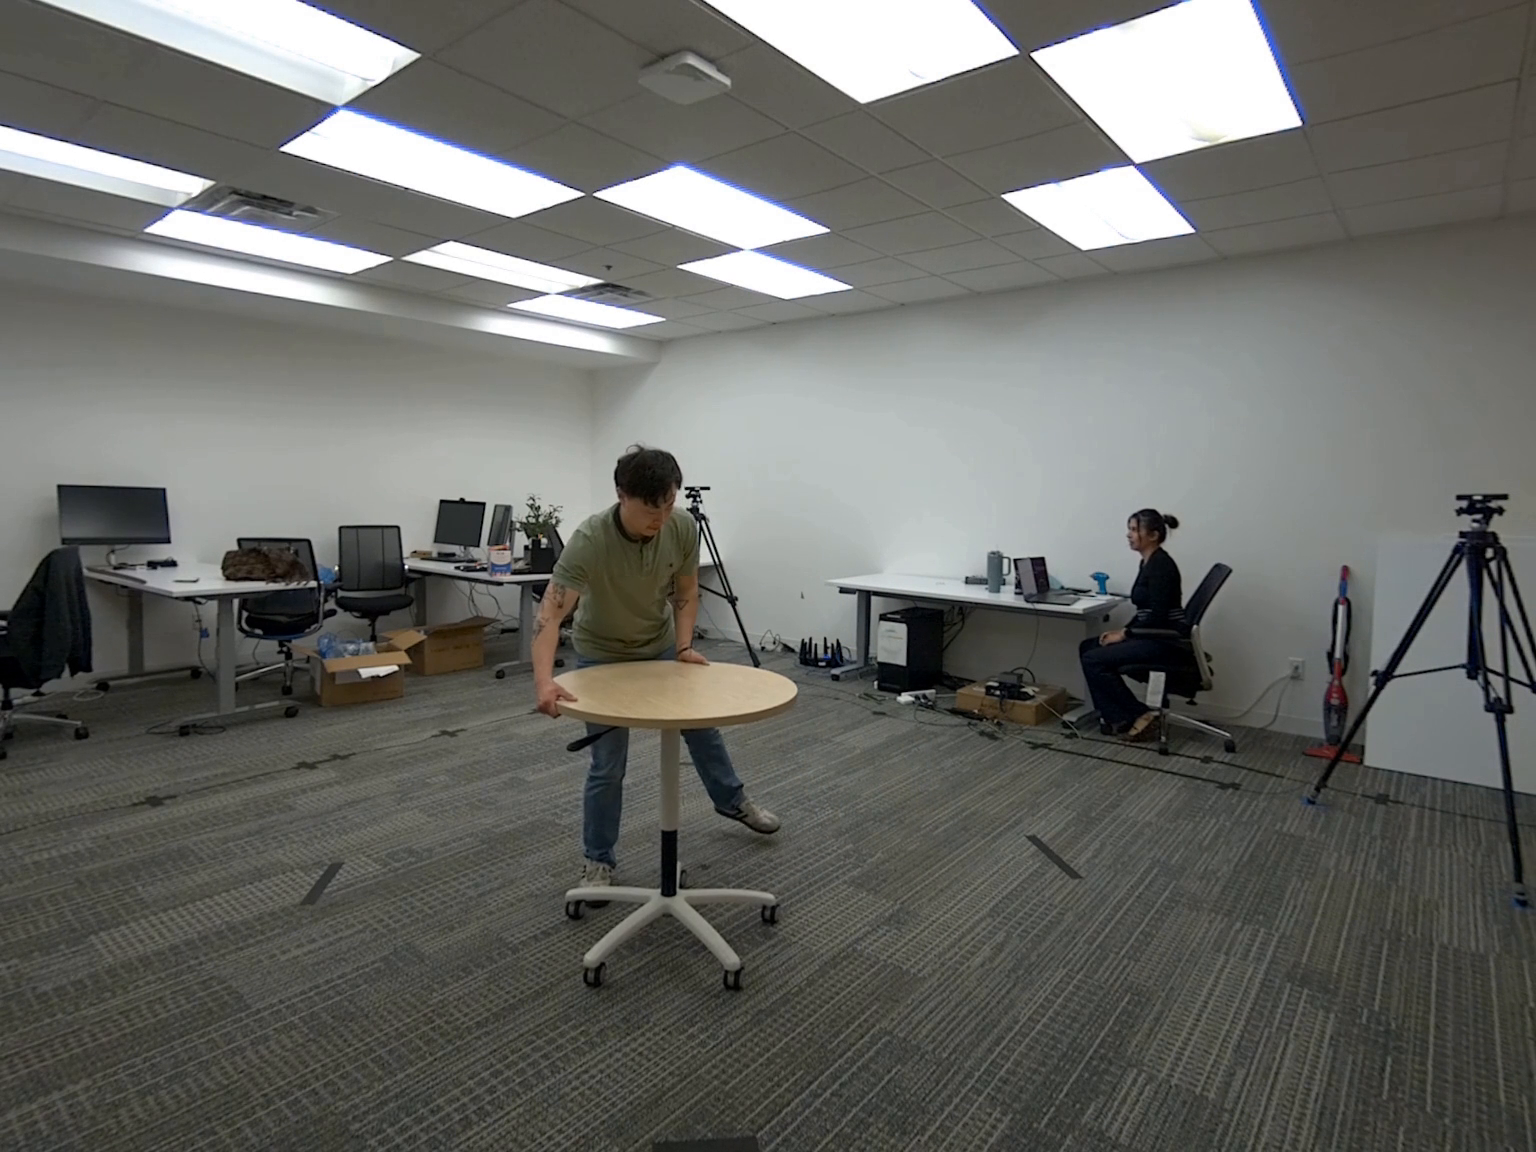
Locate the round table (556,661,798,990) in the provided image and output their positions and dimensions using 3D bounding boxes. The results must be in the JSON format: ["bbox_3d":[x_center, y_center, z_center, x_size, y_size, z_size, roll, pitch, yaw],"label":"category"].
[{"bbox_3d":[-0.307,0.723,2.601,0.763,0.791,0.768,1,4,-2],"label":"round table"}]
